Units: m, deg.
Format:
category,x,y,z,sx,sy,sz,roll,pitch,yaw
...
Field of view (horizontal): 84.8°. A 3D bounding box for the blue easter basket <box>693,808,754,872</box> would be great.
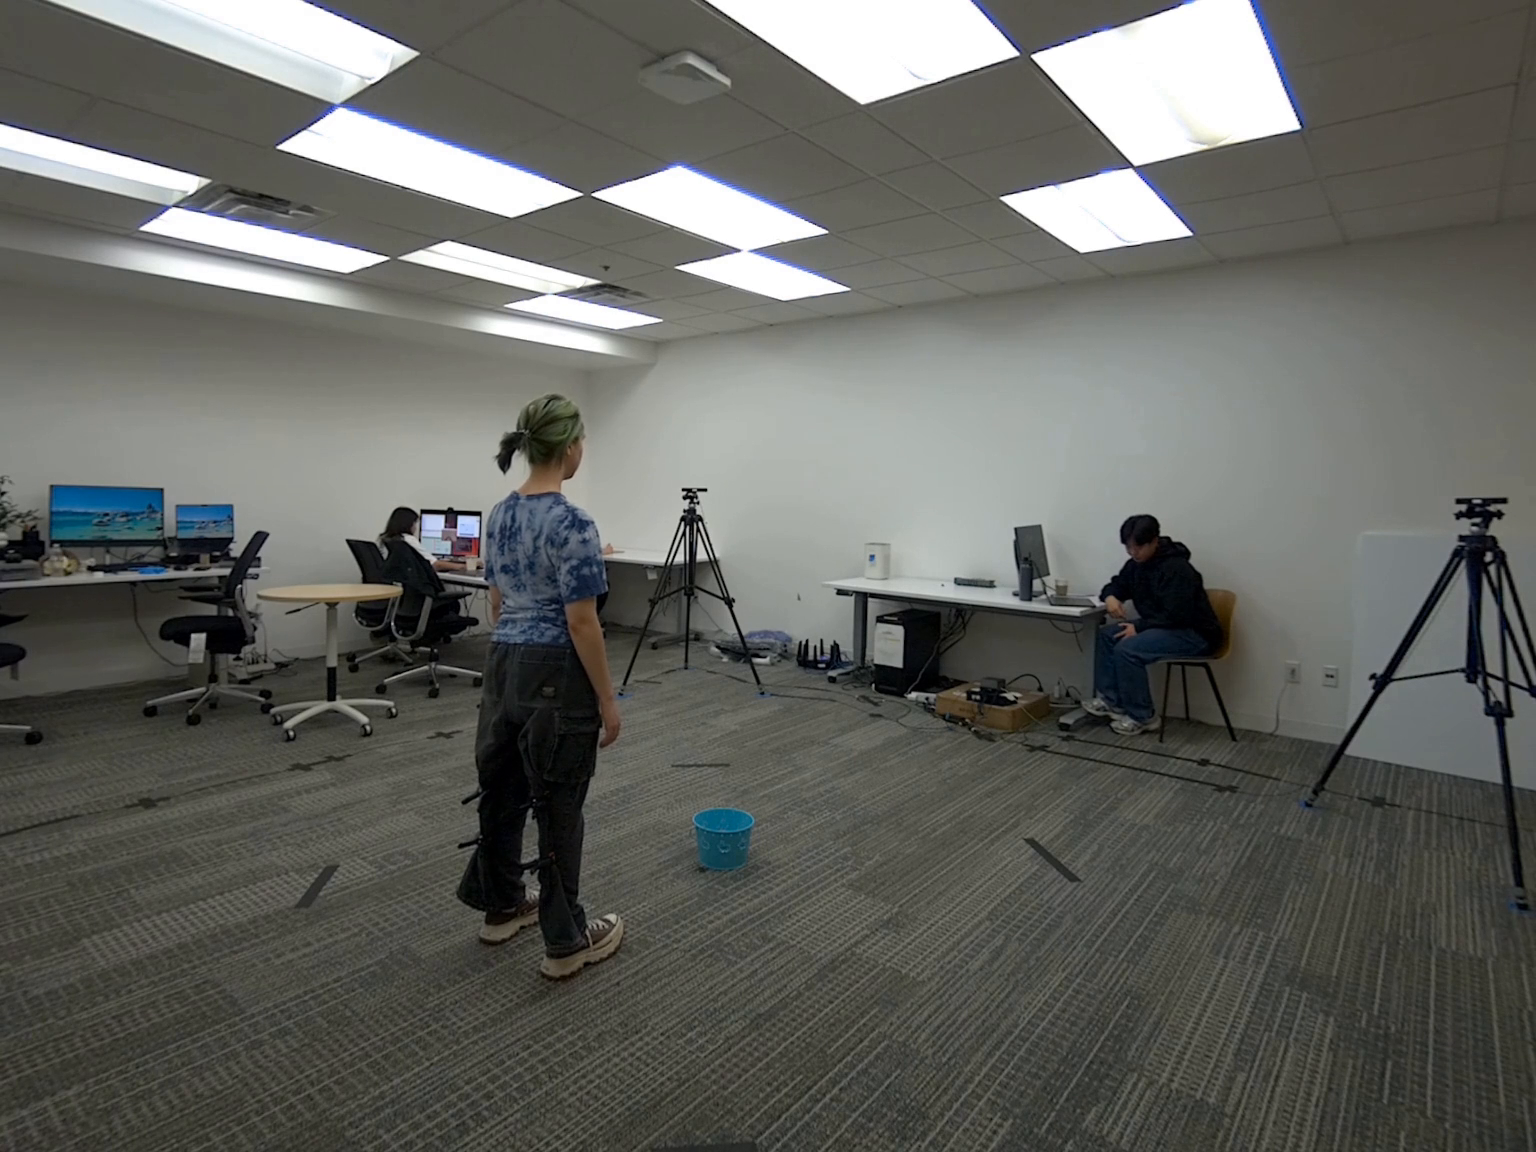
category,x,y,z,sx,sy,sz,roll,pitch,yaw
blue easter basket,-0.176,0.983,3.188,0.243,0.155,0.245,0,5,-2
